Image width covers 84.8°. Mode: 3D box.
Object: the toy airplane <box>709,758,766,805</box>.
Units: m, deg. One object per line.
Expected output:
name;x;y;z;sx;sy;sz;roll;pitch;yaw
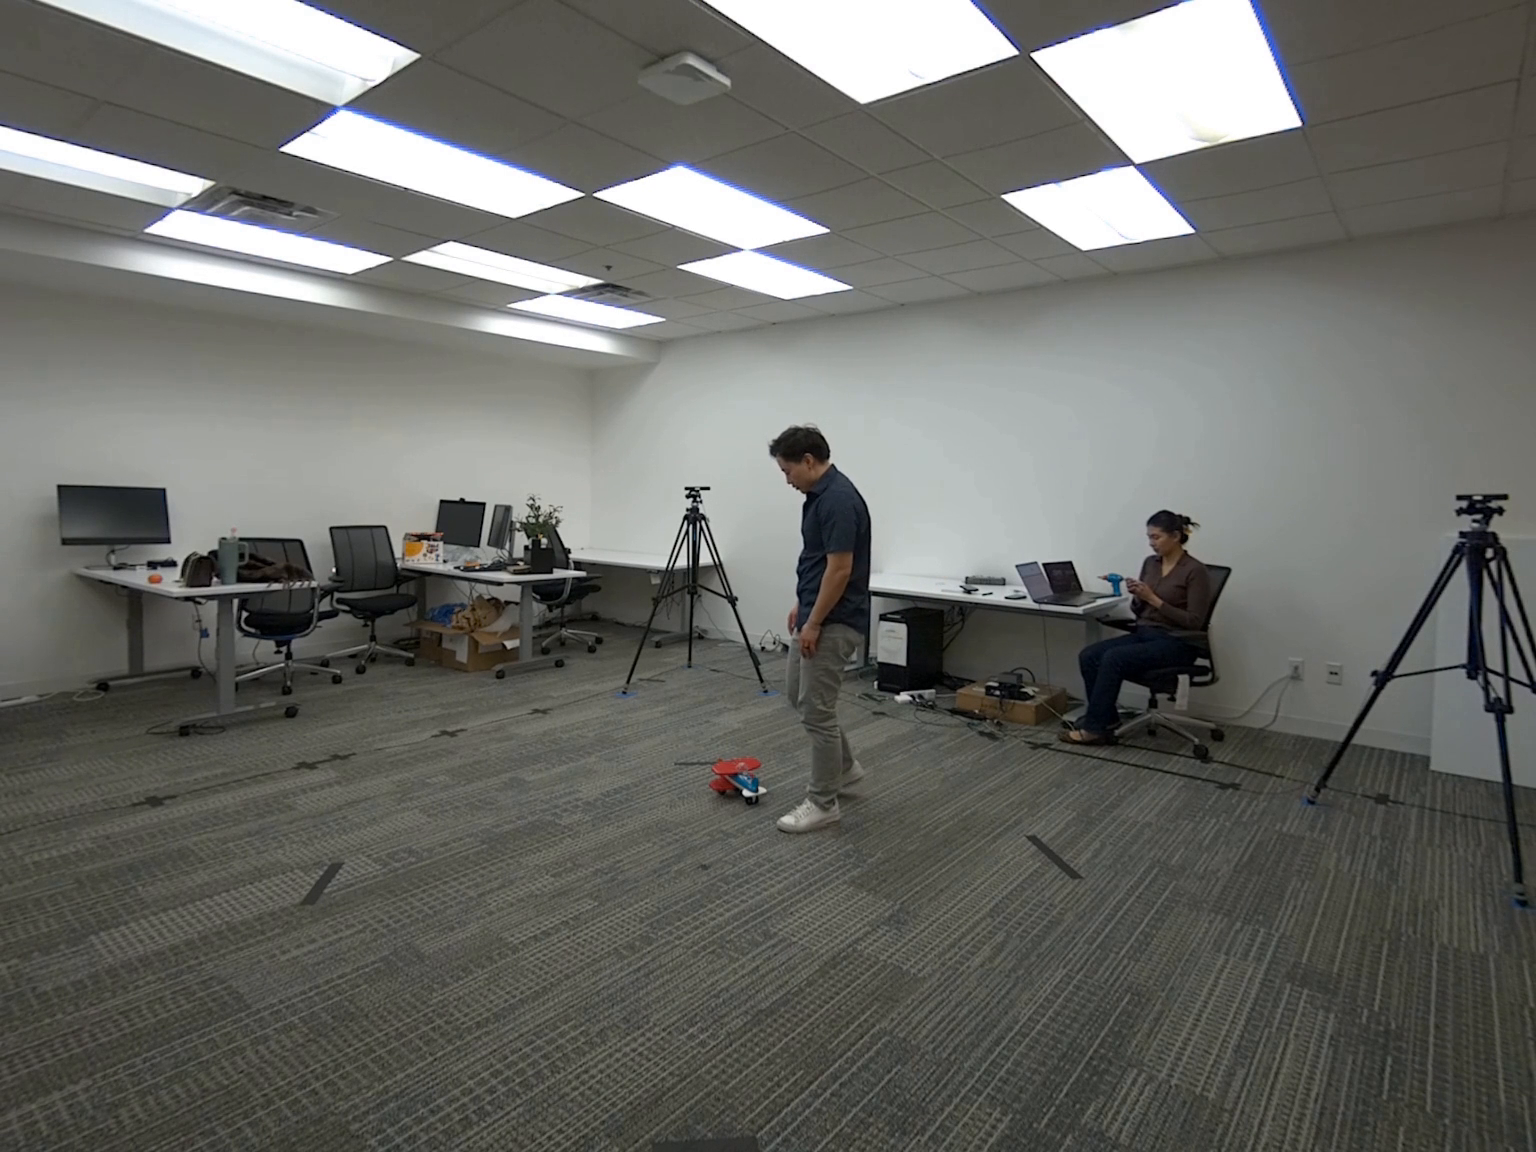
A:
toy airplane;-0.122;0.920;3.844;0.266;0.156;0.245;3;5;26
